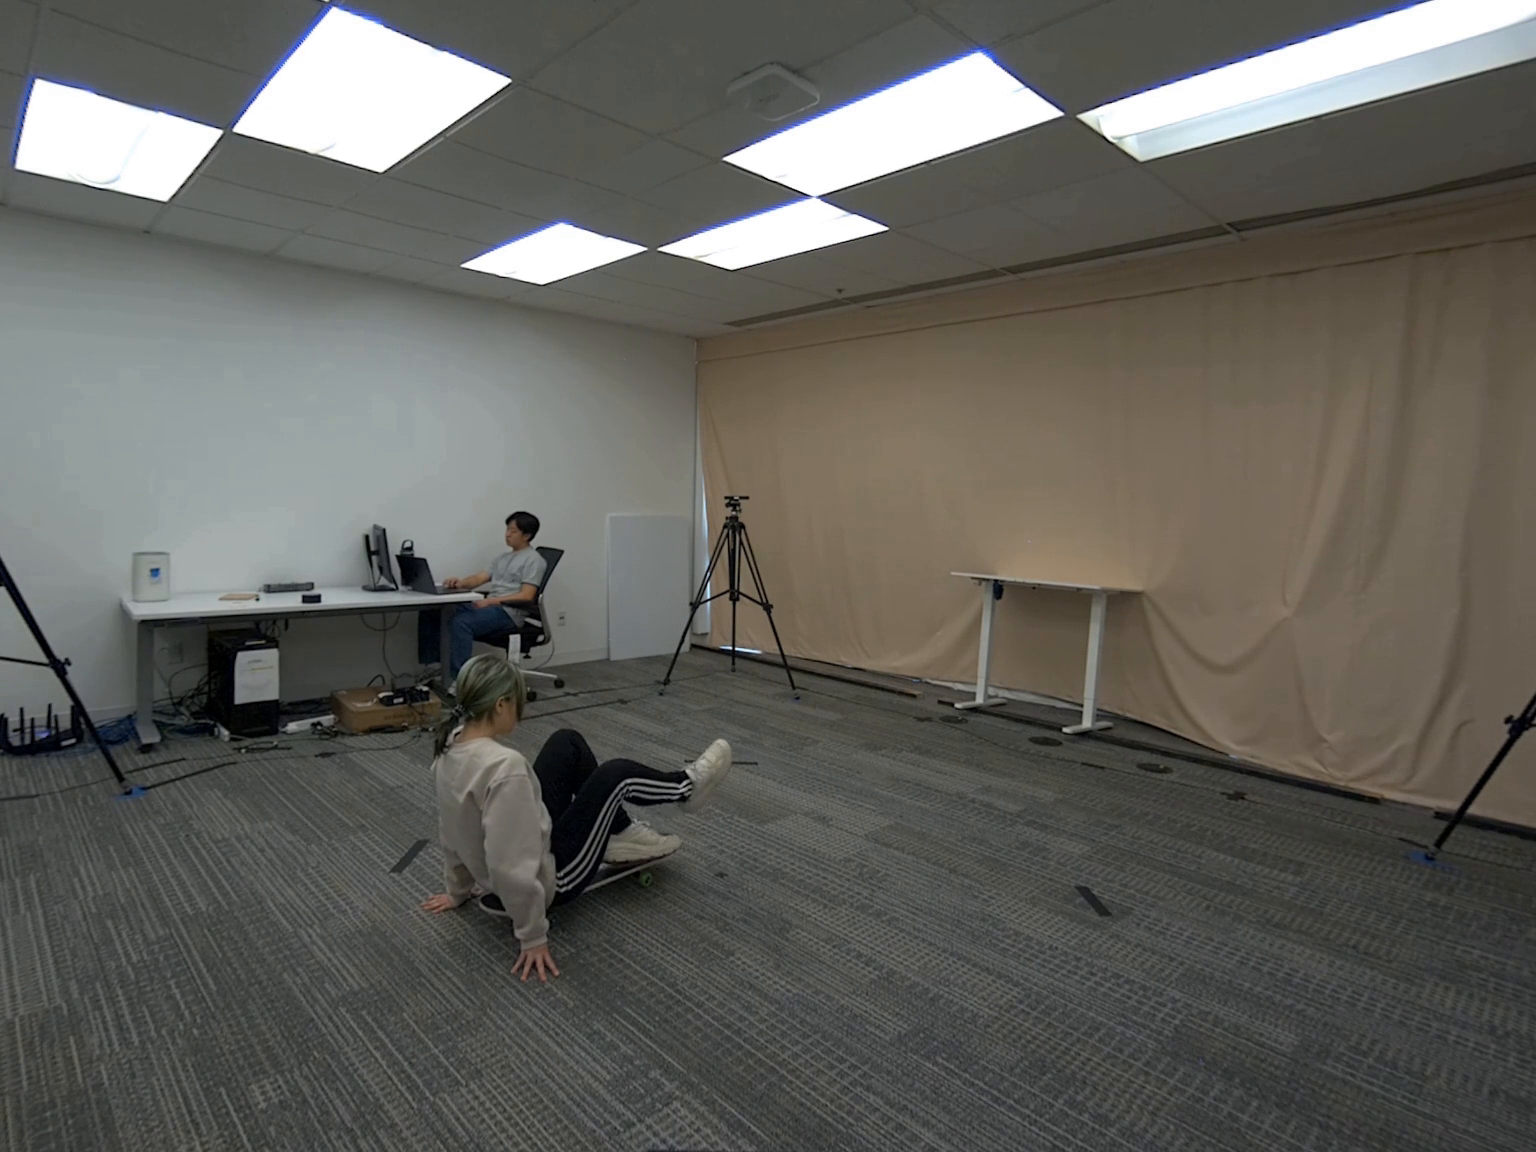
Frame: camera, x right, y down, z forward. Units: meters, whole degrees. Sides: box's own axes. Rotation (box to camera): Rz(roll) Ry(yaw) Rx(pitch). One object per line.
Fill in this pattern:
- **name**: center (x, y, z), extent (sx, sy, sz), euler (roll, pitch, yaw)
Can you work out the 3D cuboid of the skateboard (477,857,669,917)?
- **skateboard**: center (-0.627, 1.063, 2.901), extent (0.198, 0.110, 0.768), euler (5, 7, 42)
